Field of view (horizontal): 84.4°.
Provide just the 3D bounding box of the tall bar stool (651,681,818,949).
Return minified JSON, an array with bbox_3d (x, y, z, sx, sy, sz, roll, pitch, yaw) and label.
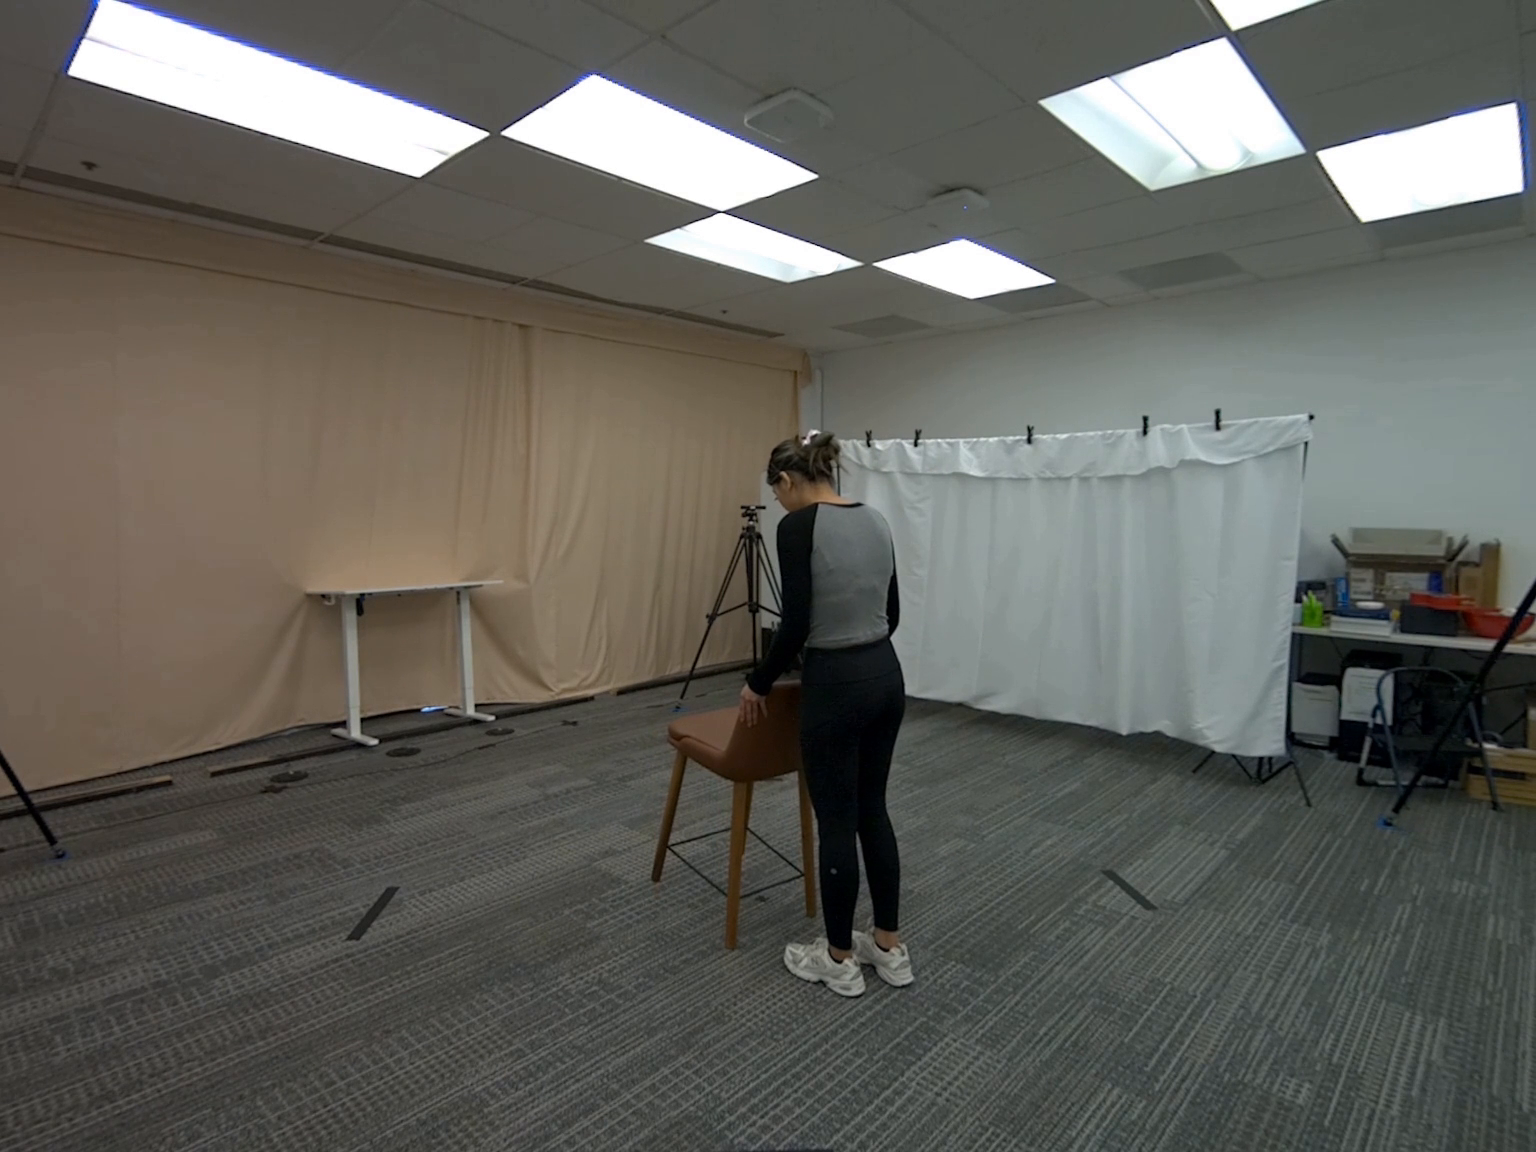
[{"bbox_3d":[-0.069,0.694,2.836,0.443,0.884,0.484,-2,15,-38],"label":"tall bar stool"}]
